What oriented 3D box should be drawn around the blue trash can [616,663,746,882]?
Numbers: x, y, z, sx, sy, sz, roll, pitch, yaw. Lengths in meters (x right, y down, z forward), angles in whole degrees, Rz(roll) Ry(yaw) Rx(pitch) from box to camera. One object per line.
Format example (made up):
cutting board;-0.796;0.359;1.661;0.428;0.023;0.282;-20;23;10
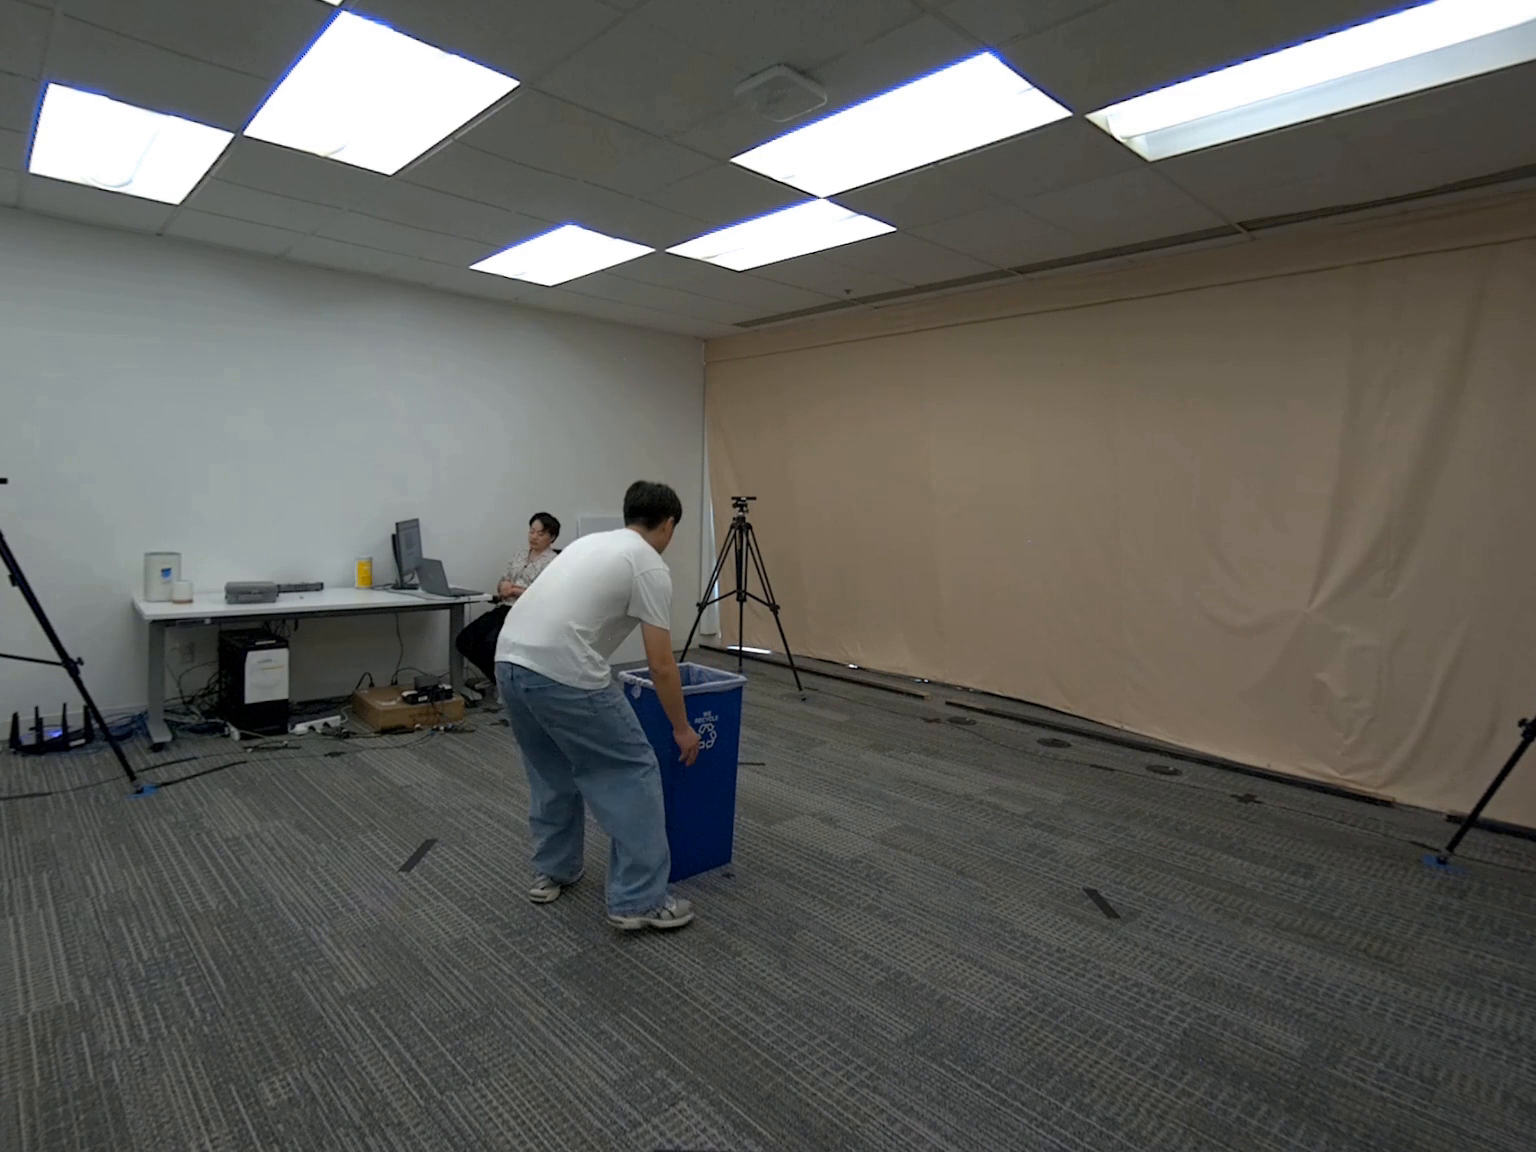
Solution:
blue trash can;-0.338;0.732;3.229;0.365;0.712;0.388;-2;5;-43
